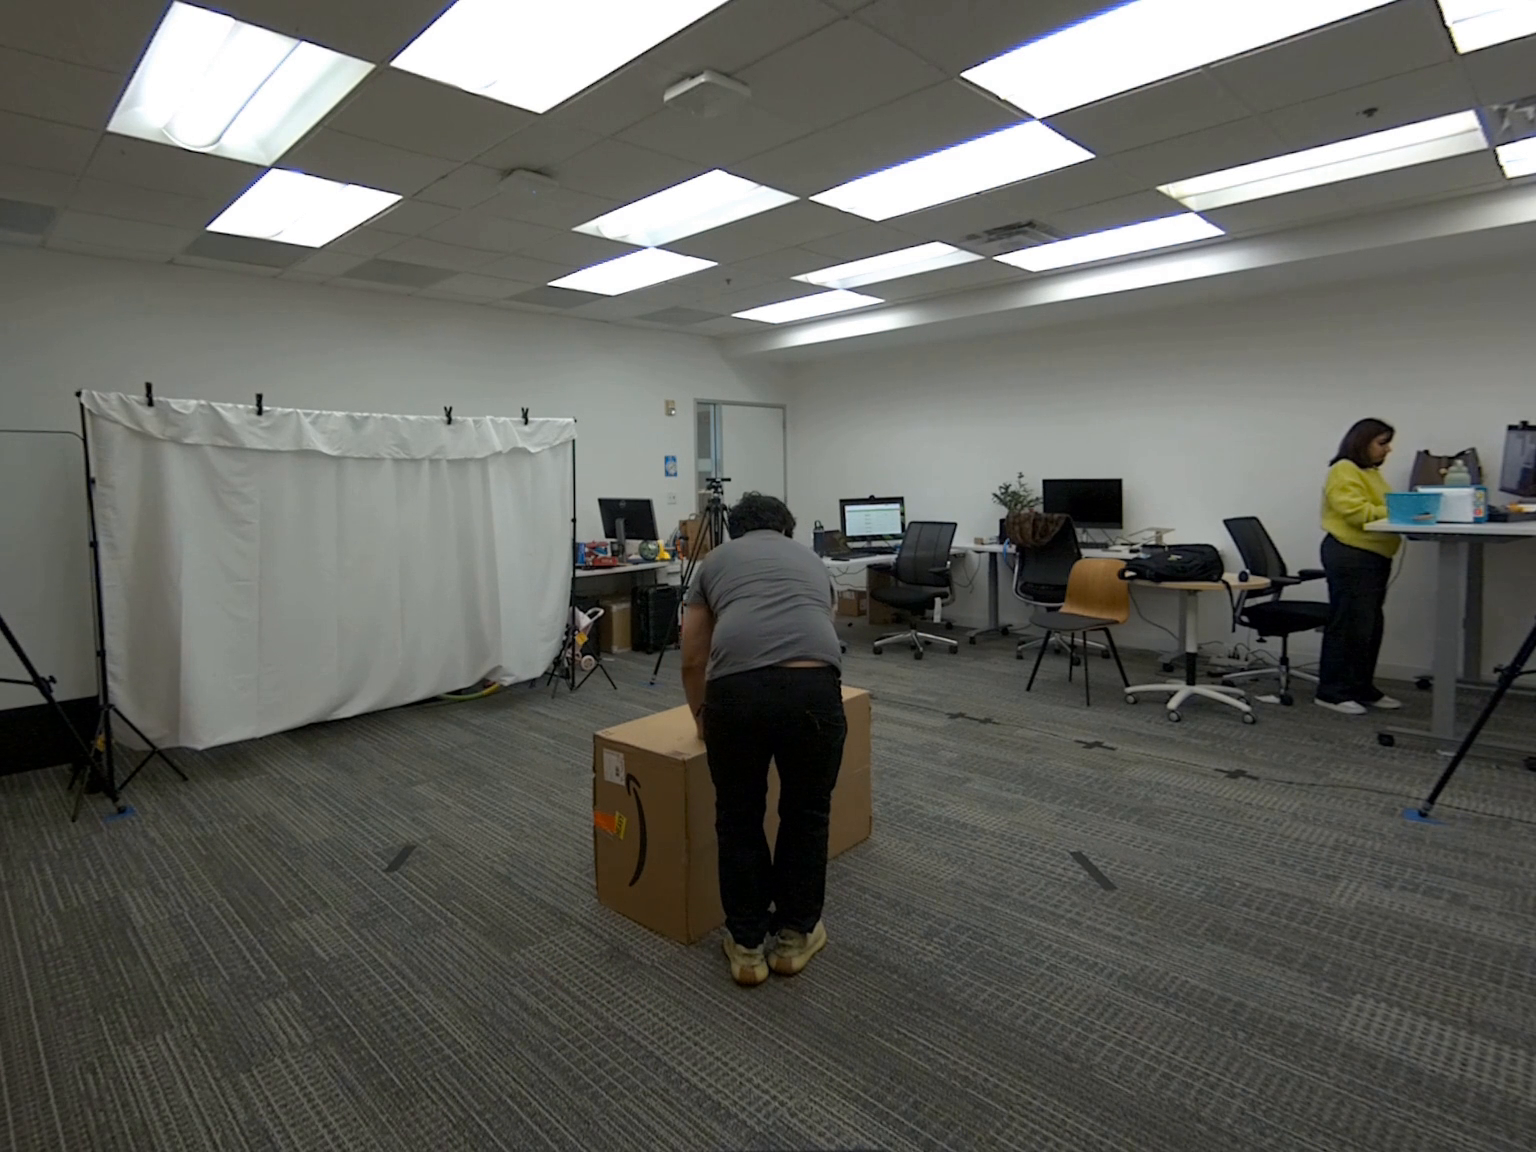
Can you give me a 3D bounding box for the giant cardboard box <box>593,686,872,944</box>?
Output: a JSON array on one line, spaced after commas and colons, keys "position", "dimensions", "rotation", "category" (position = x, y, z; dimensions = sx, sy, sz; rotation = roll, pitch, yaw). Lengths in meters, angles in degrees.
[{"position": [-0.090, 0.759, 3.061], "dimensions": [0.439, 0.575, 1.000], "rotation": [3, 7, 40], "category": "giant cardboard box"}]
